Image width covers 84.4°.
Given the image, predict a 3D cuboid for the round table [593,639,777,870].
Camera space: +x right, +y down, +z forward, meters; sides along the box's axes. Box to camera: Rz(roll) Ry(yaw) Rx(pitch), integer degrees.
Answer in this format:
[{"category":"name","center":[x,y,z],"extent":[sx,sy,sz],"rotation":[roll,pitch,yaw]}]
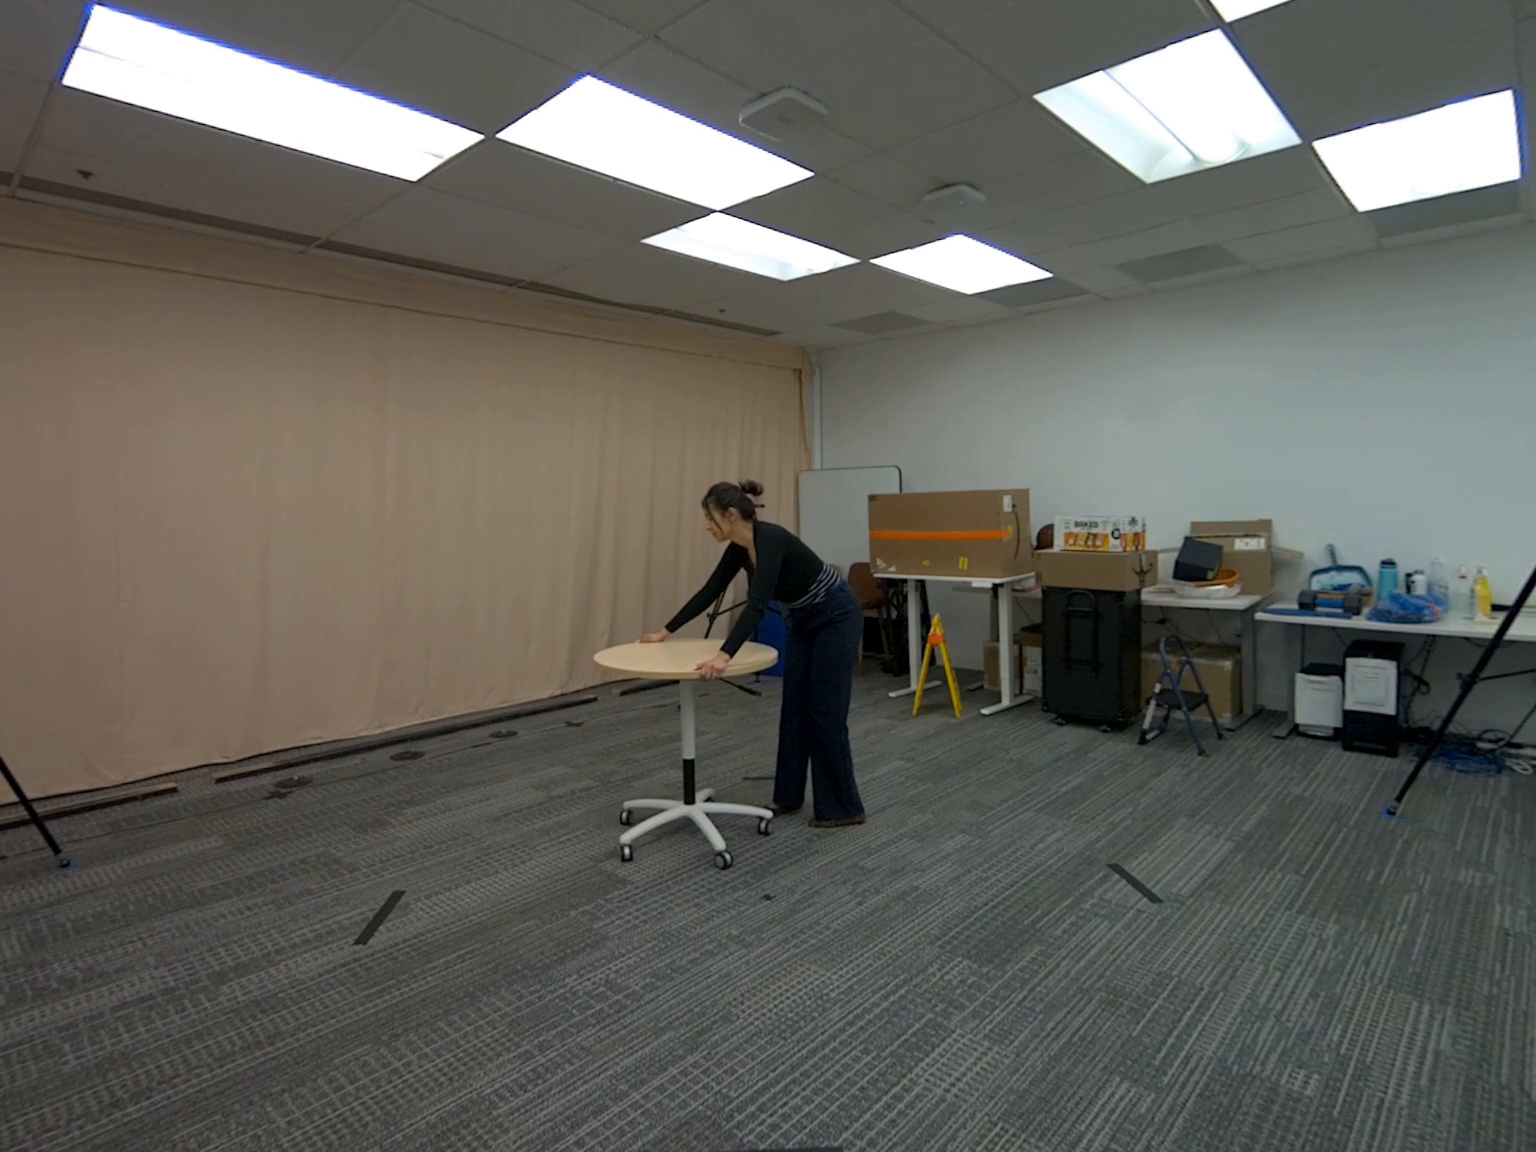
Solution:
[{"category":"round table","center":[-0.332,0.714,3.524],"extent":[0.763,0.792,0.766],"rotation":[-1,3,-2]}]
